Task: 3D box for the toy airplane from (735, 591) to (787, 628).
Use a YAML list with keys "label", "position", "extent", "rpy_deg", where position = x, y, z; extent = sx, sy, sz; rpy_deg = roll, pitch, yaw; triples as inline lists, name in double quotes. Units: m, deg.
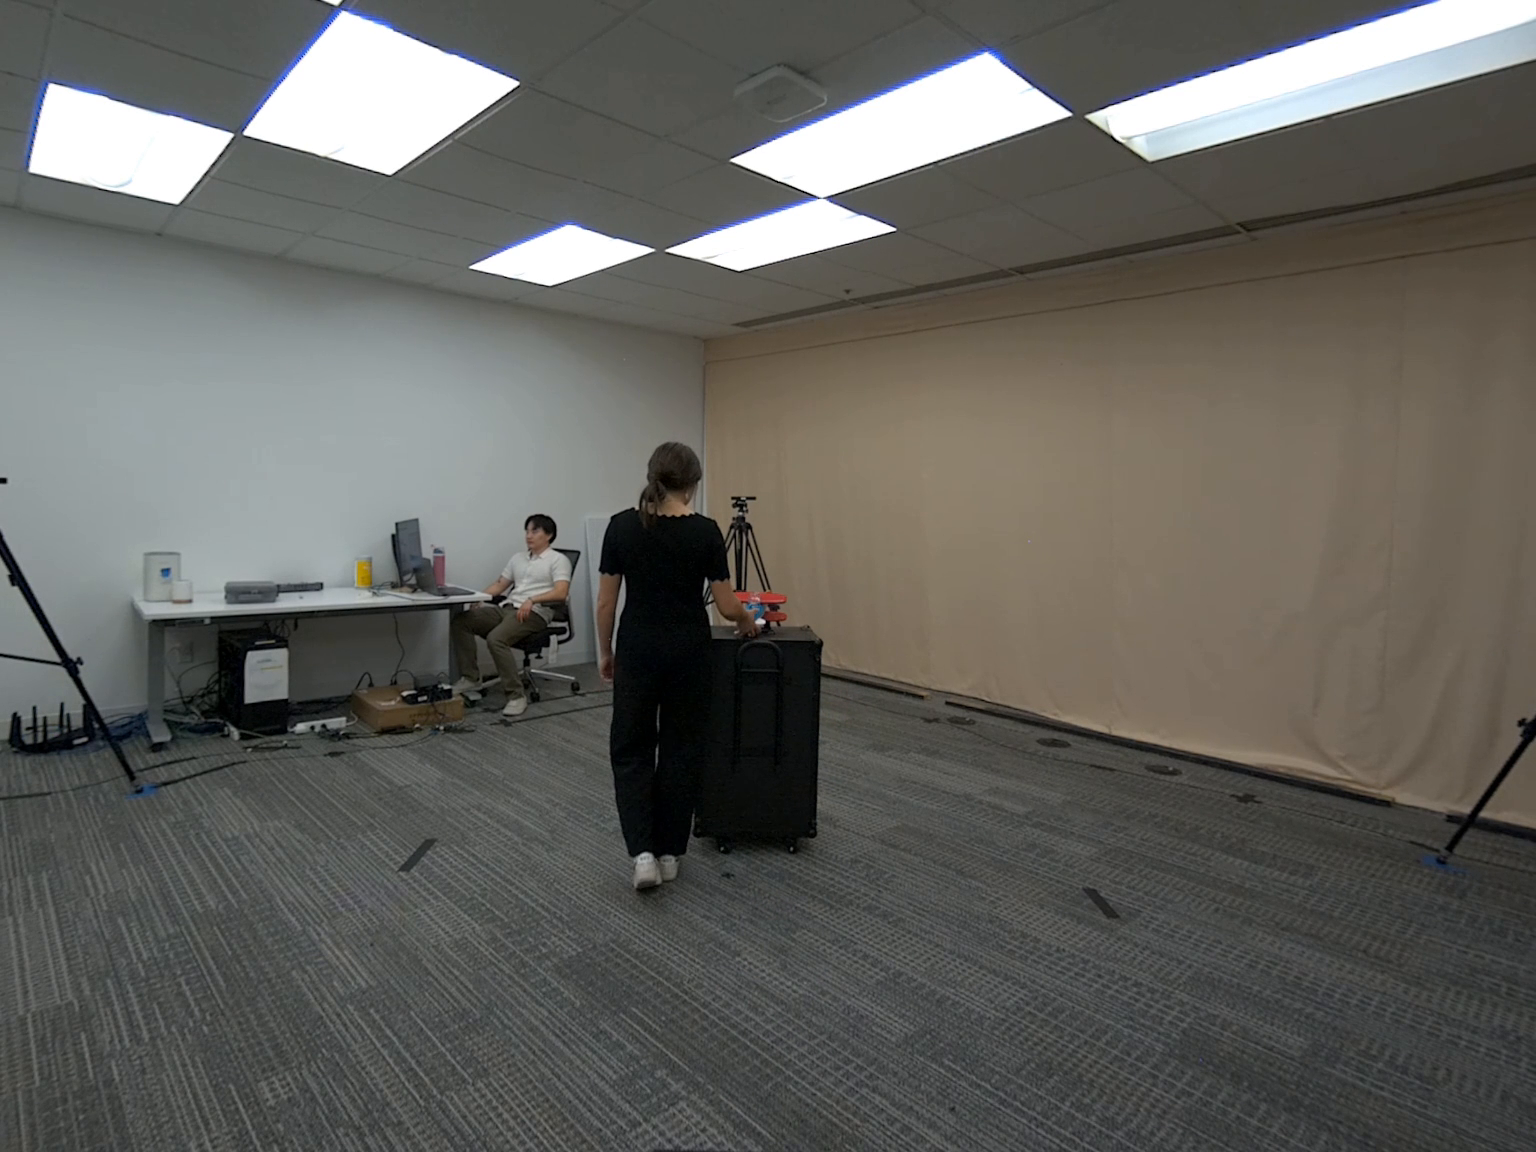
- label: "toy airplane"
  position: [-0.043, 0.154, 3.417]
  extent: [0.248, 0.156, 0.263]
  rpy_deg: [-2, 5, -19]
